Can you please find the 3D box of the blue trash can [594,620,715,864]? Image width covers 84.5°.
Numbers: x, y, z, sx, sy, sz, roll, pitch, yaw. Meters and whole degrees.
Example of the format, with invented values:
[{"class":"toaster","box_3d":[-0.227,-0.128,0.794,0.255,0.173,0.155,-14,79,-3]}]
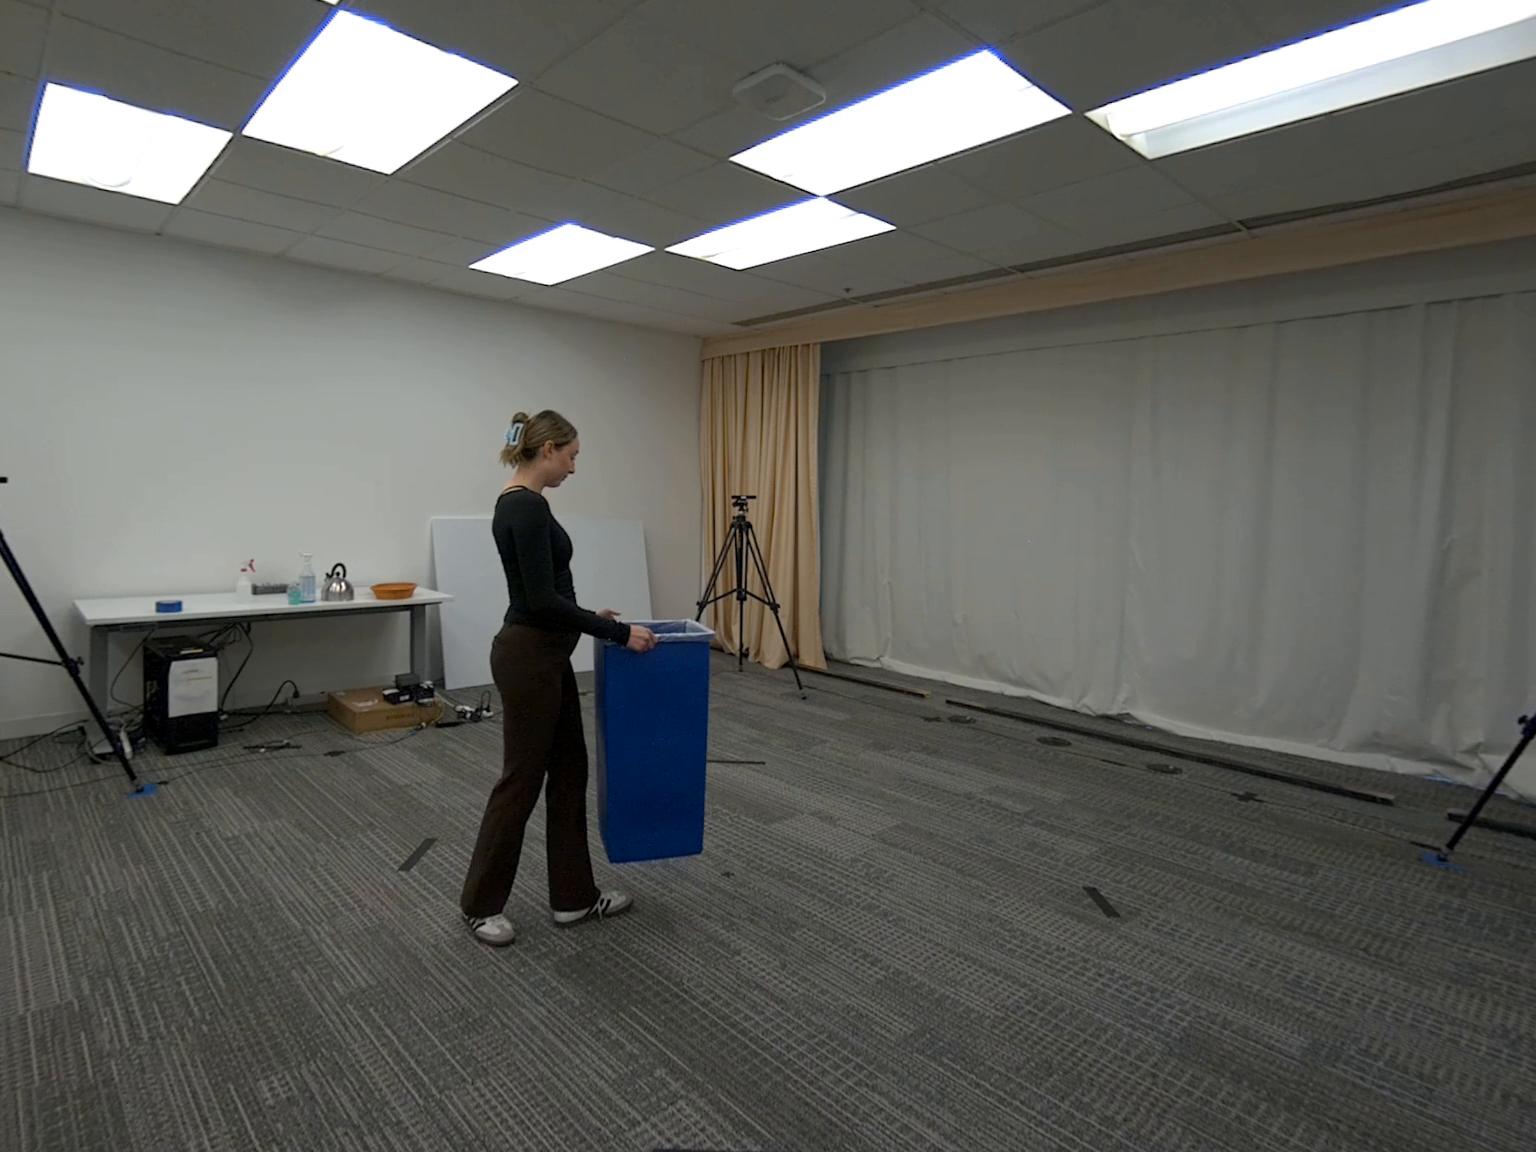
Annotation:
[{"class":"blue trash can","box_3d":[-0.402,0.526,2.780,0.373,0.712,0.379,0,3,-17]}]
